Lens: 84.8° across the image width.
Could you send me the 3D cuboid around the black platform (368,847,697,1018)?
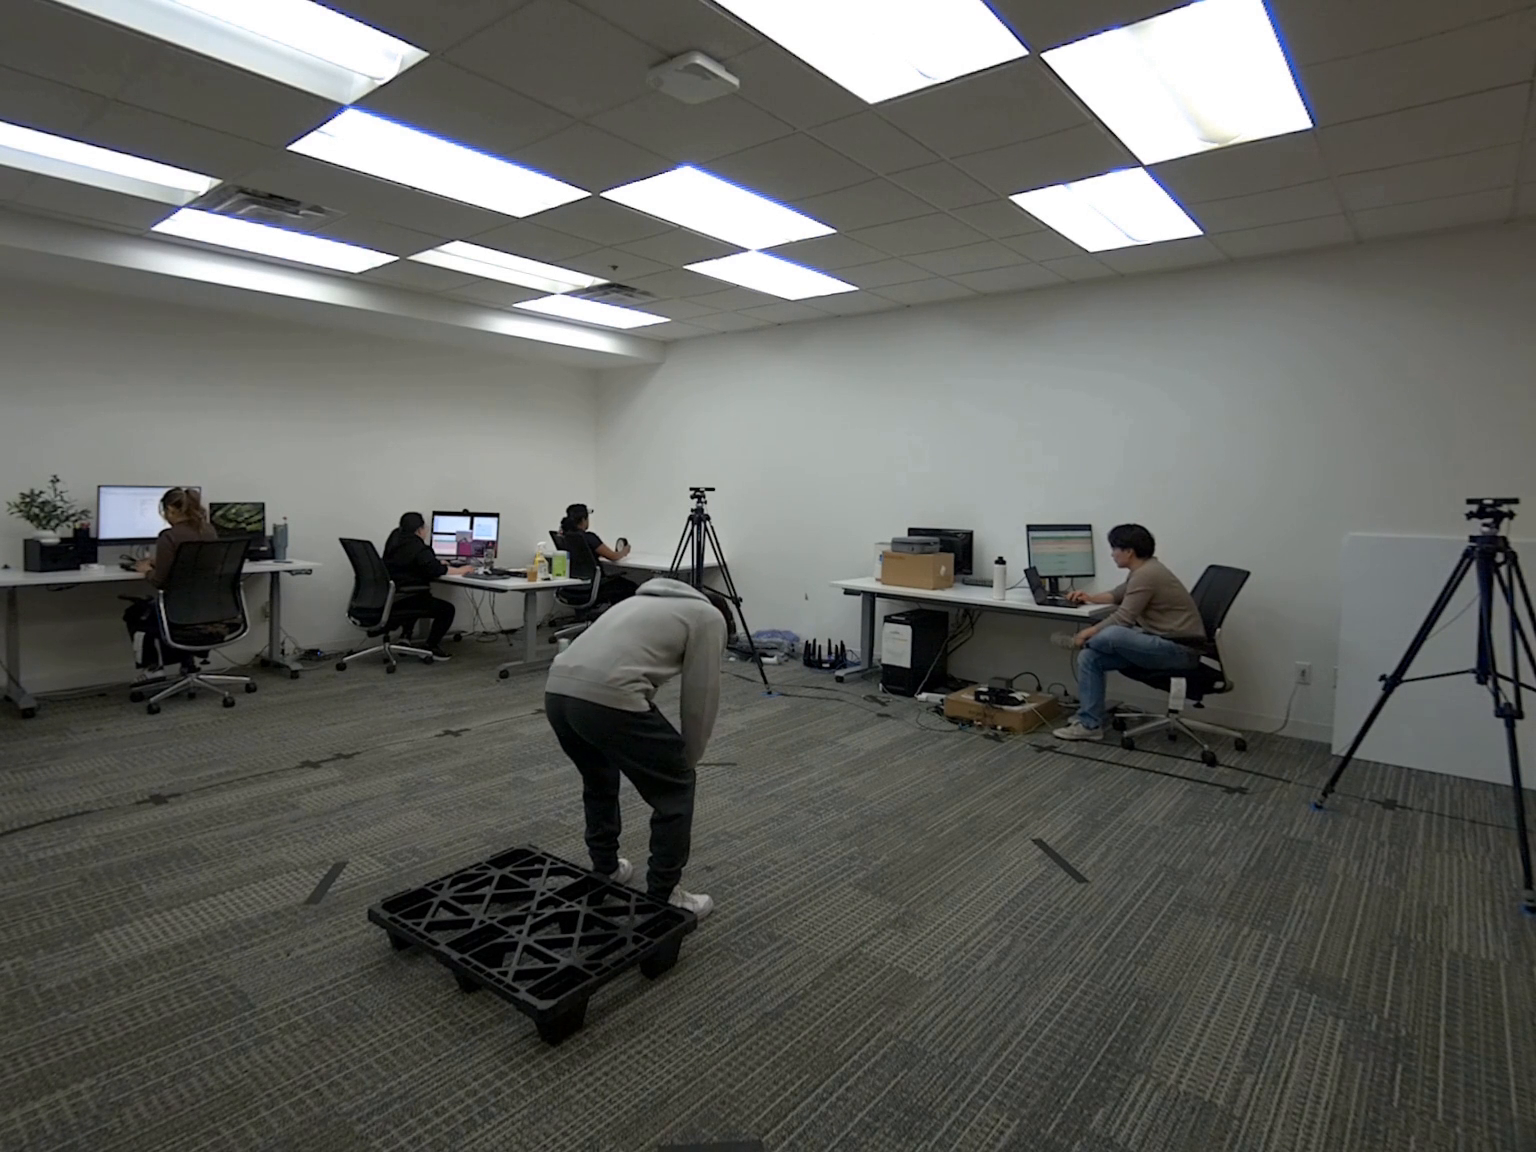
[{"bbox_3d":[-0.706,1.049,2.520,0.832,0.143,0.588,5,7,36],"label":"black platform"}]
